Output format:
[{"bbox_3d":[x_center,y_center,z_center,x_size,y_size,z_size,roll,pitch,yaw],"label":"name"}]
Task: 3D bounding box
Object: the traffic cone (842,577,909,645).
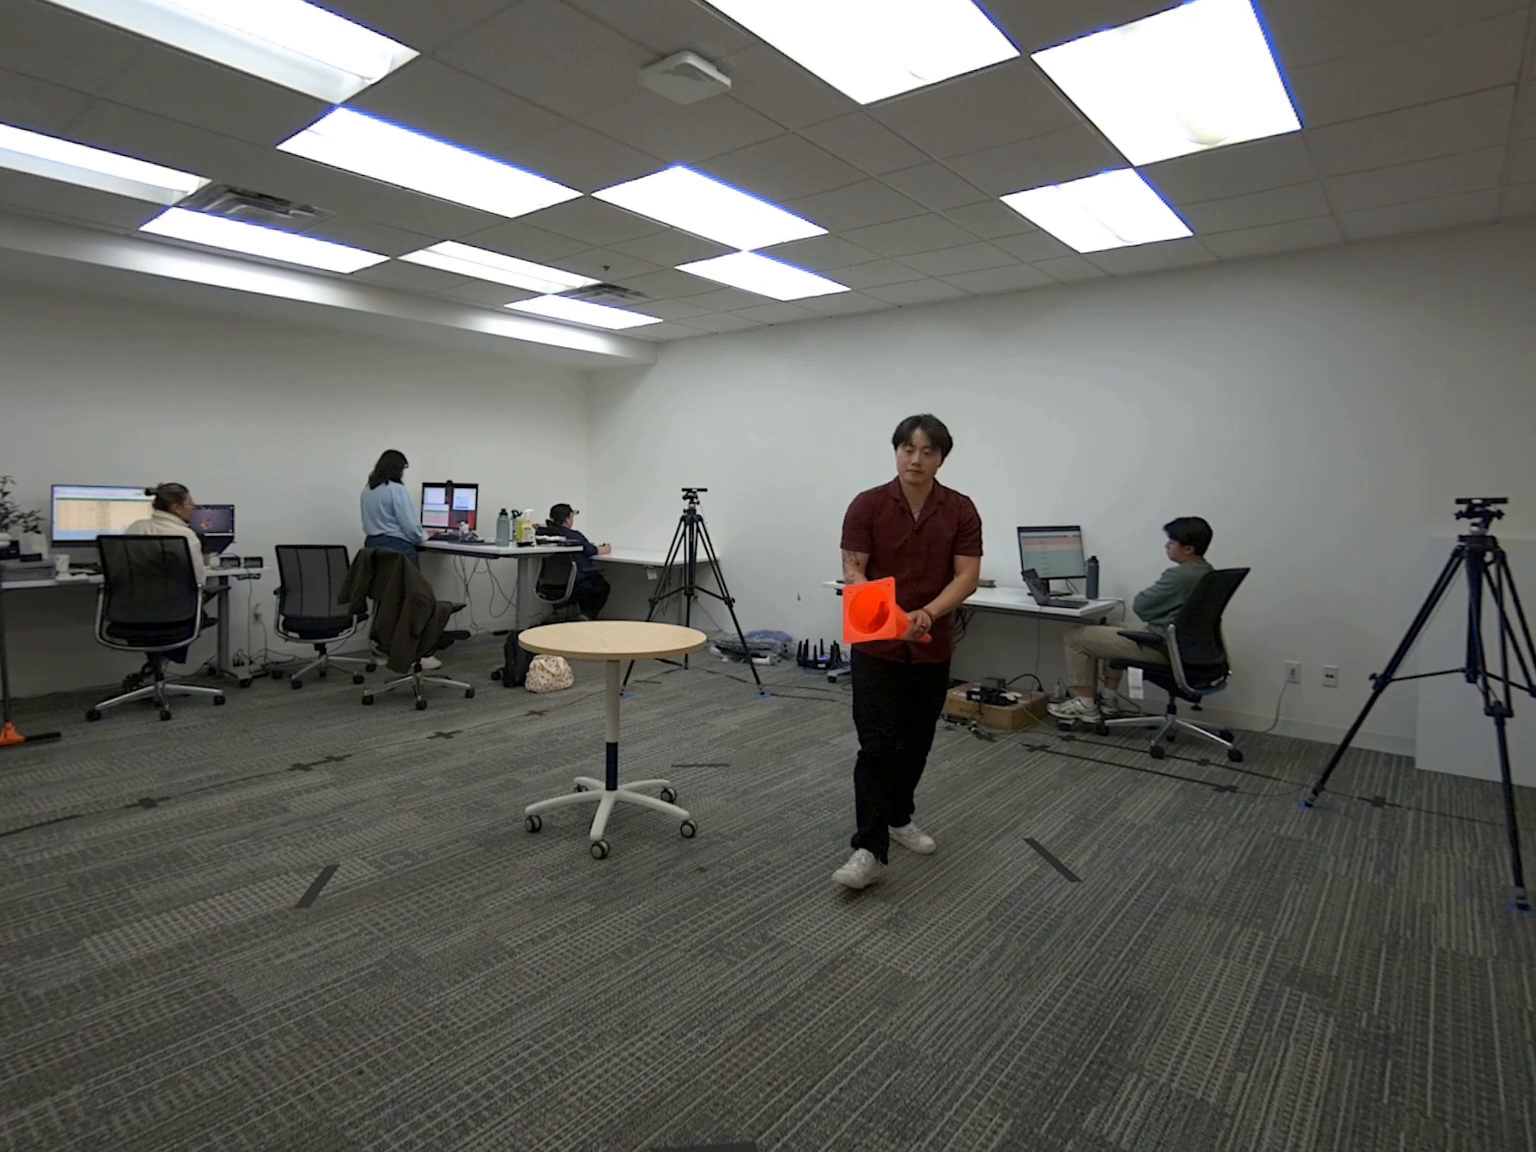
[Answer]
[{"bbox_3d":[0.430,0.173,2.875,0.210,0.207,0.368,-13,-25,37],"label":"traffic cone"}]
